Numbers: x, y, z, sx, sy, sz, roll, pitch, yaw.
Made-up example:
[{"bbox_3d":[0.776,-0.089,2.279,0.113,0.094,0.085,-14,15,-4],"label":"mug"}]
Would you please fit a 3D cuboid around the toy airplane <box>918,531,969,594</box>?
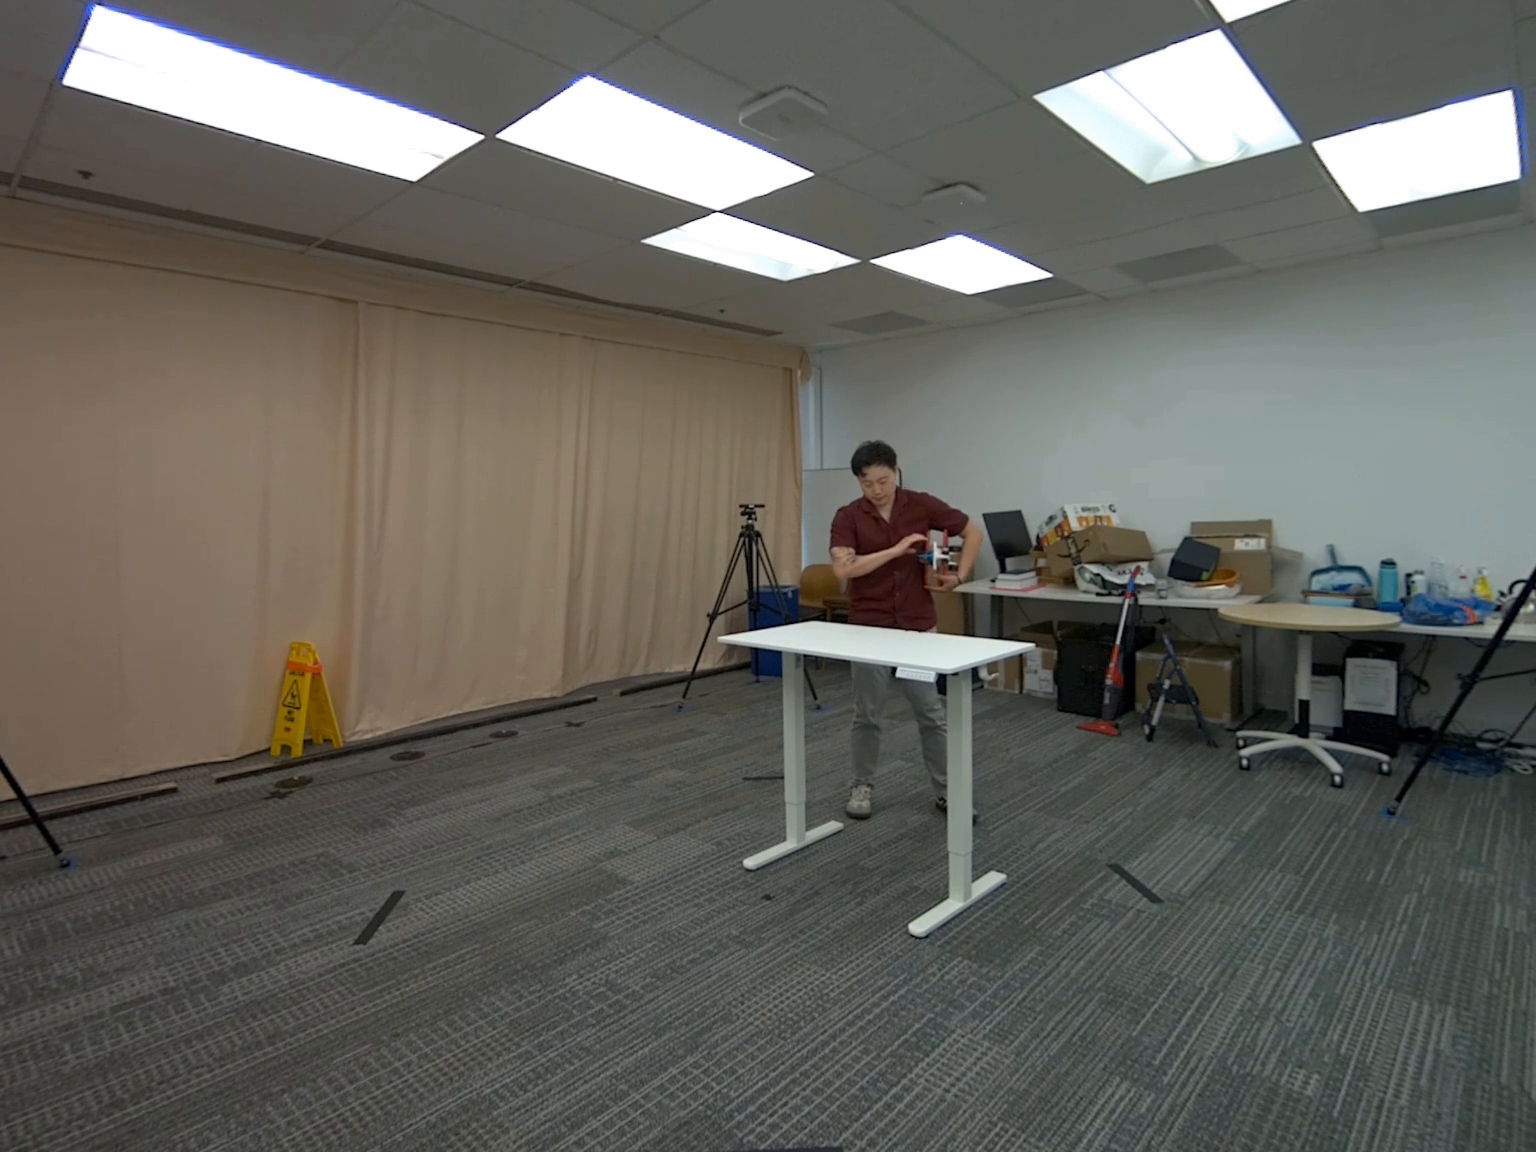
[{"bbox_3d":[0.761,-0.095,3.703,0.161,0.253,0.250,-2,-26,33],"label":"toy airplane"}]
